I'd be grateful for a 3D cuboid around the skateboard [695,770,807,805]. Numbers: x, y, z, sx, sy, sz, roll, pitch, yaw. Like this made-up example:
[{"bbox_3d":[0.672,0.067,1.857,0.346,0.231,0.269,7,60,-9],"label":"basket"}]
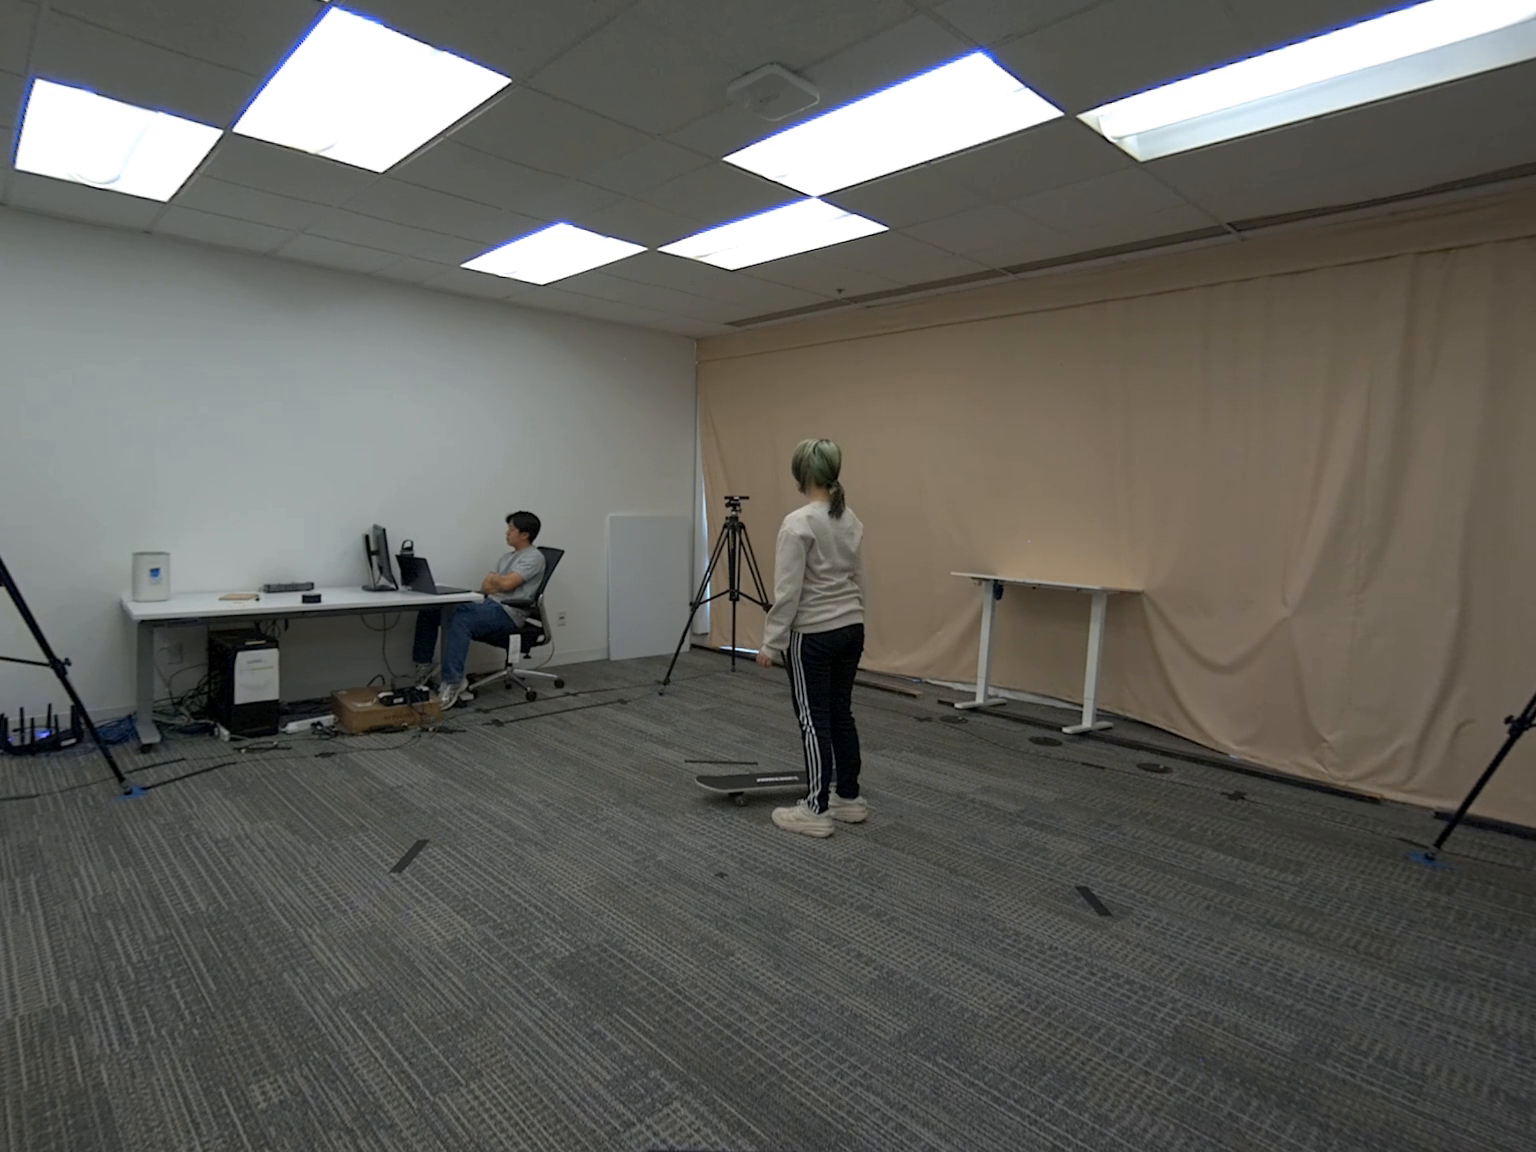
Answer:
[{"bbox_3d":[0.034,0.978,3.930,0.776,0.110,0.196,0,5,-14],"label":"skateboard"}]
